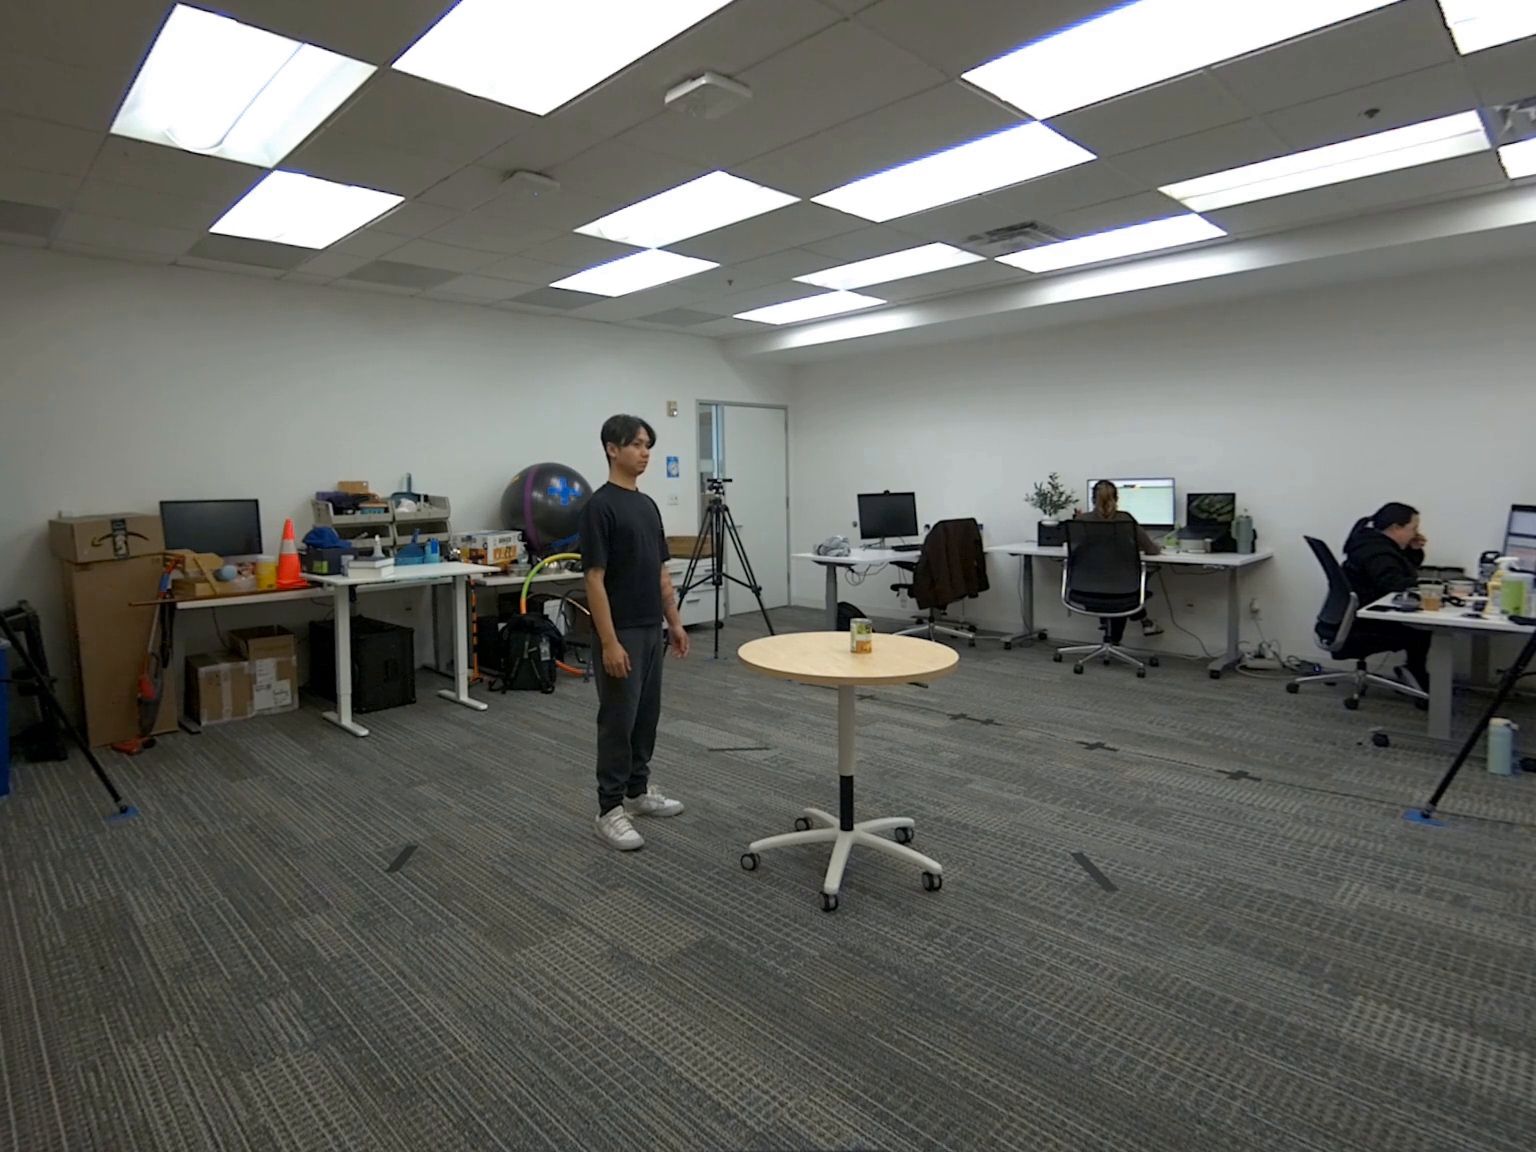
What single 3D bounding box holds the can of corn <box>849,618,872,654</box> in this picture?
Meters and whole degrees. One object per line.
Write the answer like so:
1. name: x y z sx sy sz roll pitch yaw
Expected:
1. can of corn: 0.342 0.213 3.007 0.074 0.110 0.075 2 7 -2
